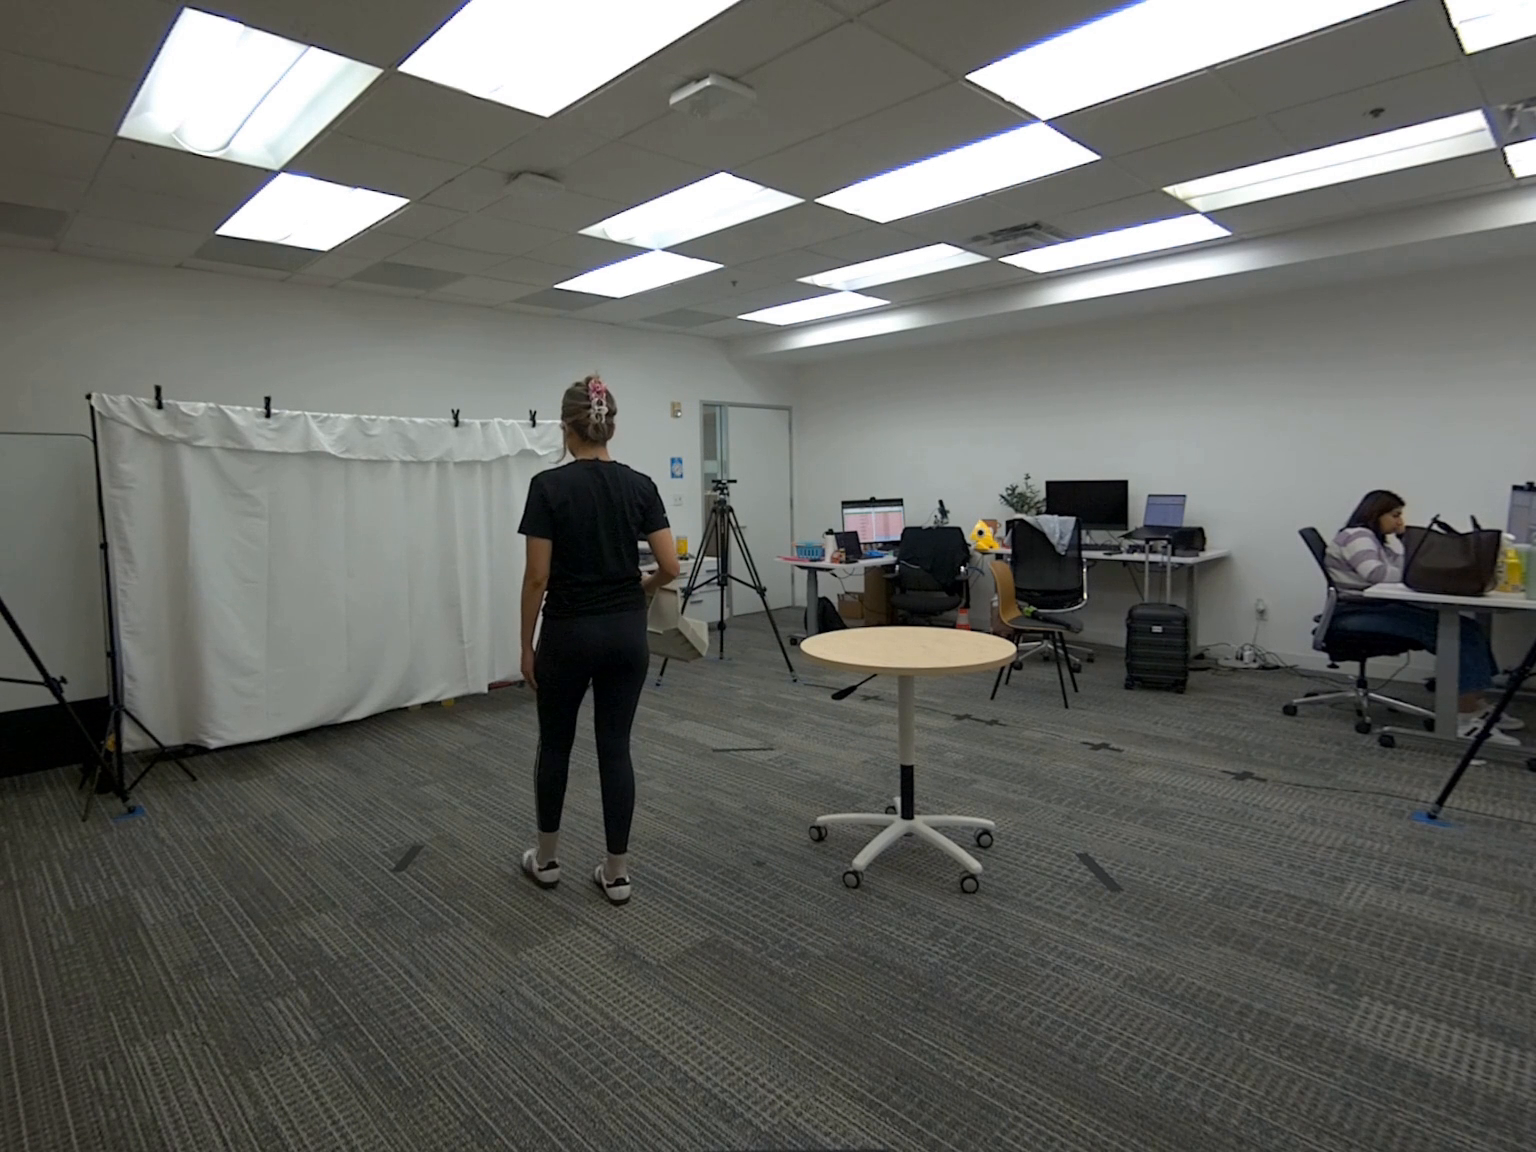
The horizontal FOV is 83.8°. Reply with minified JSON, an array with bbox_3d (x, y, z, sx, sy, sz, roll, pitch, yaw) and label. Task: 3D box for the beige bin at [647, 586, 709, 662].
[{"bbox_3d":[-0.453,0.174,3.316,0.385,0.191,0.410,12,-17,16],"label":"beige bin"}]
